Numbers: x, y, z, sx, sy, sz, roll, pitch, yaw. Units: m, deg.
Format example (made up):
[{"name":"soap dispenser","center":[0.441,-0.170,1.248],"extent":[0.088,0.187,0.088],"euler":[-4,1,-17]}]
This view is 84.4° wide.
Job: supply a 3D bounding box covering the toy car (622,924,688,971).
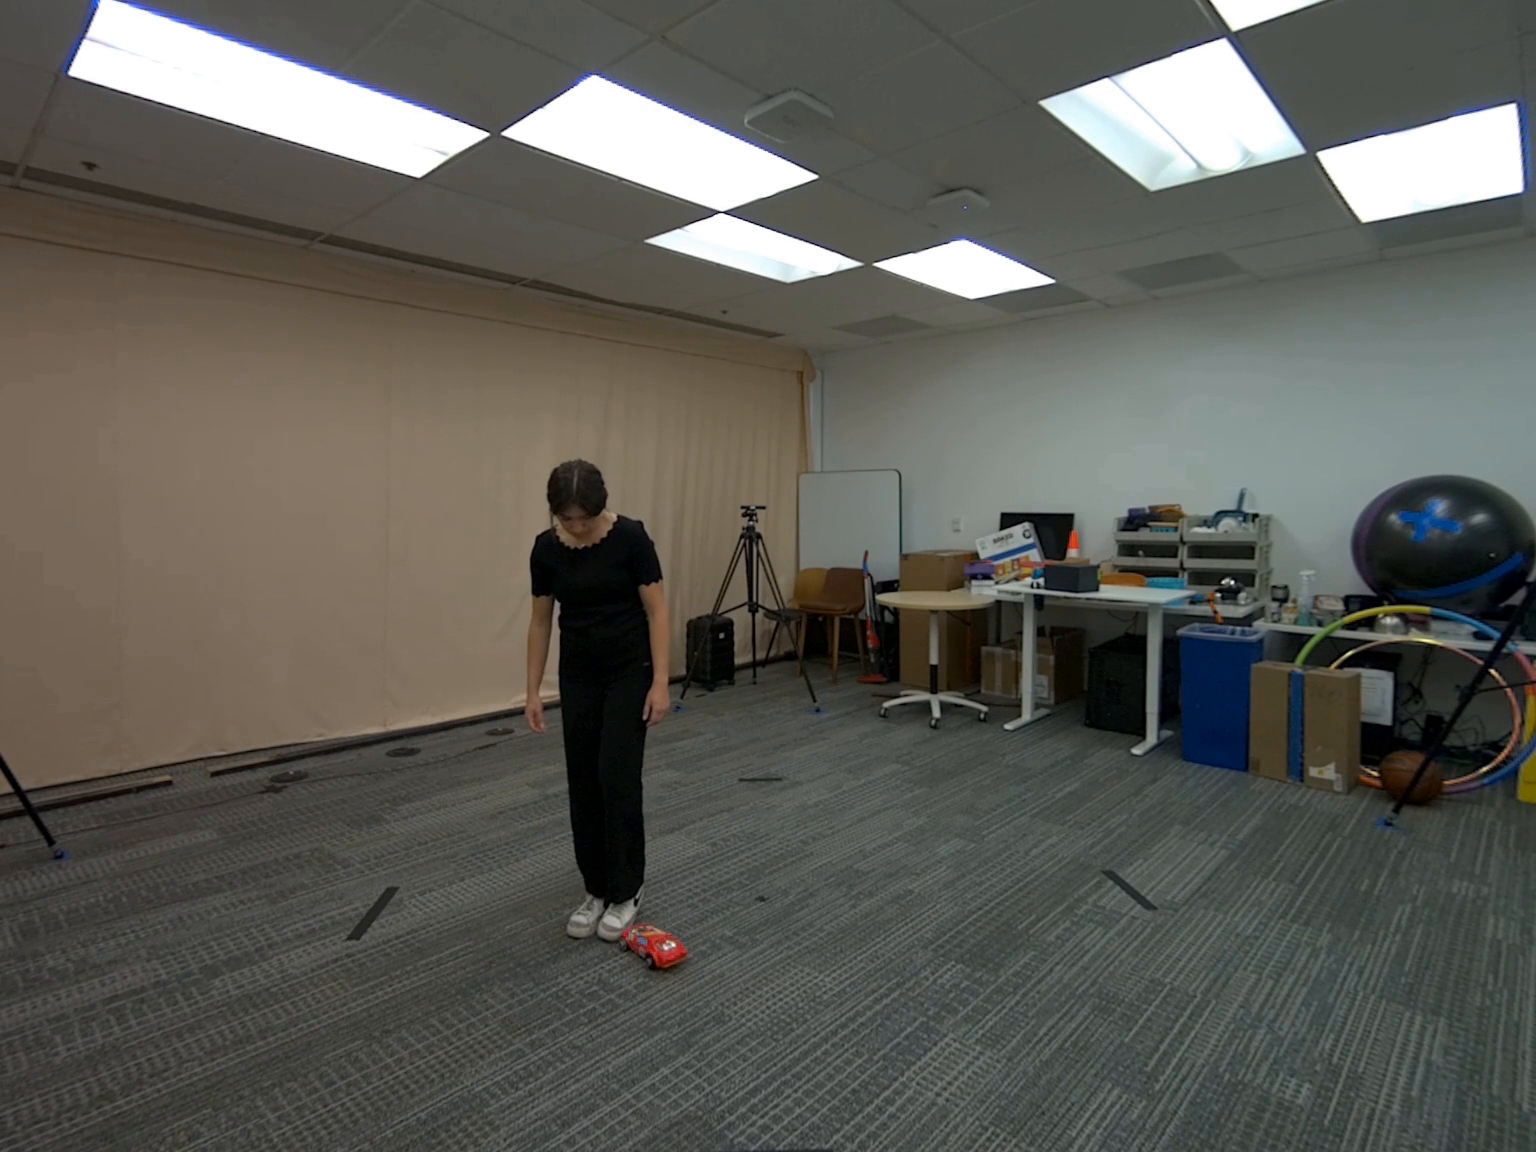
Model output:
[{"name":"toy car","center":[-0.351,1.147,2.597],"extent":[0.126,0.083,0.261],"euler":[-5,-5,-42]}]
